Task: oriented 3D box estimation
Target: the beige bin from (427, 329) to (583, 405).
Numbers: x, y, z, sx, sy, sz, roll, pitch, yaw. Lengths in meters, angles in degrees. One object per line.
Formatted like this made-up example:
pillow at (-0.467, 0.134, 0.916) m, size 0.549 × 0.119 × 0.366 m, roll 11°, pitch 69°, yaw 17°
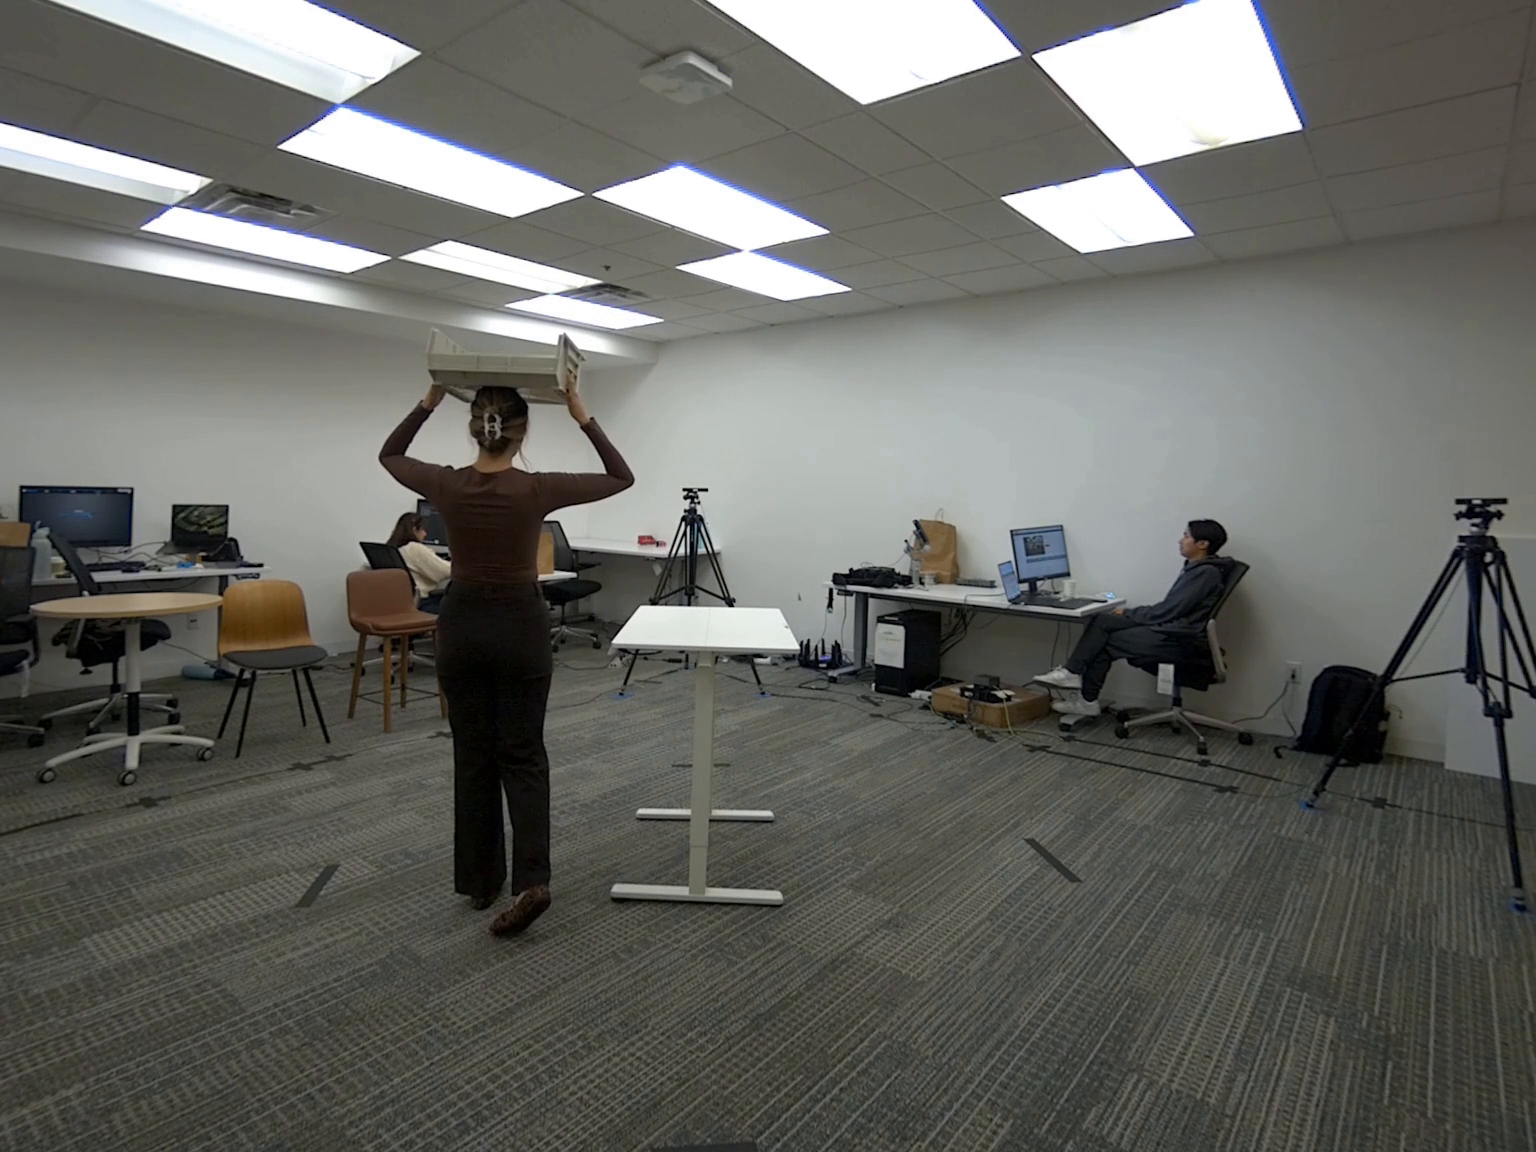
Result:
beige bin at (-0.854, -0.691, 2.774) m, size 0.422 × 0.189 × 0.377 m, roll 4°, pitch -2°, yaw -2°
